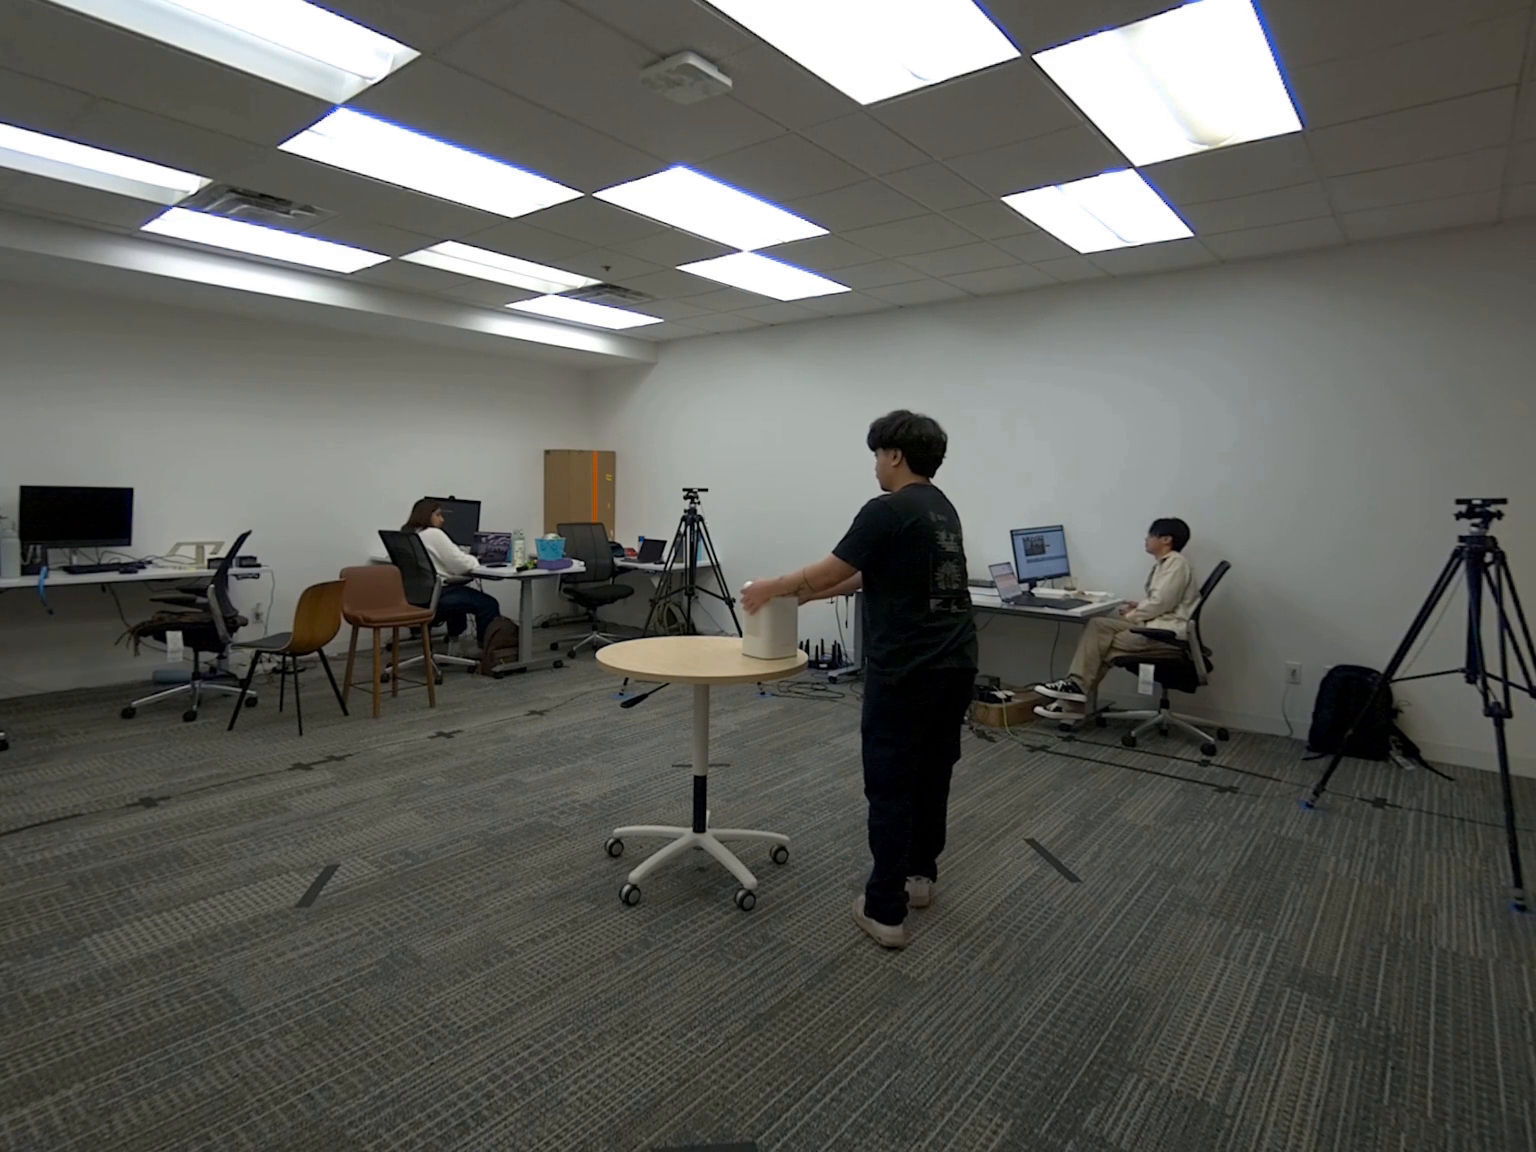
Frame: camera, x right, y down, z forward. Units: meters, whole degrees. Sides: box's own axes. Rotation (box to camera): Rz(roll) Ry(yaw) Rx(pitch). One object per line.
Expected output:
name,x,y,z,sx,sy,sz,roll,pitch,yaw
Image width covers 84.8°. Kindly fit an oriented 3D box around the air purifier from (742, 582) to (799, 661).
air purifier,-0.003,0.151,3.071,0.166,0.265,0.177,0,4,-38
